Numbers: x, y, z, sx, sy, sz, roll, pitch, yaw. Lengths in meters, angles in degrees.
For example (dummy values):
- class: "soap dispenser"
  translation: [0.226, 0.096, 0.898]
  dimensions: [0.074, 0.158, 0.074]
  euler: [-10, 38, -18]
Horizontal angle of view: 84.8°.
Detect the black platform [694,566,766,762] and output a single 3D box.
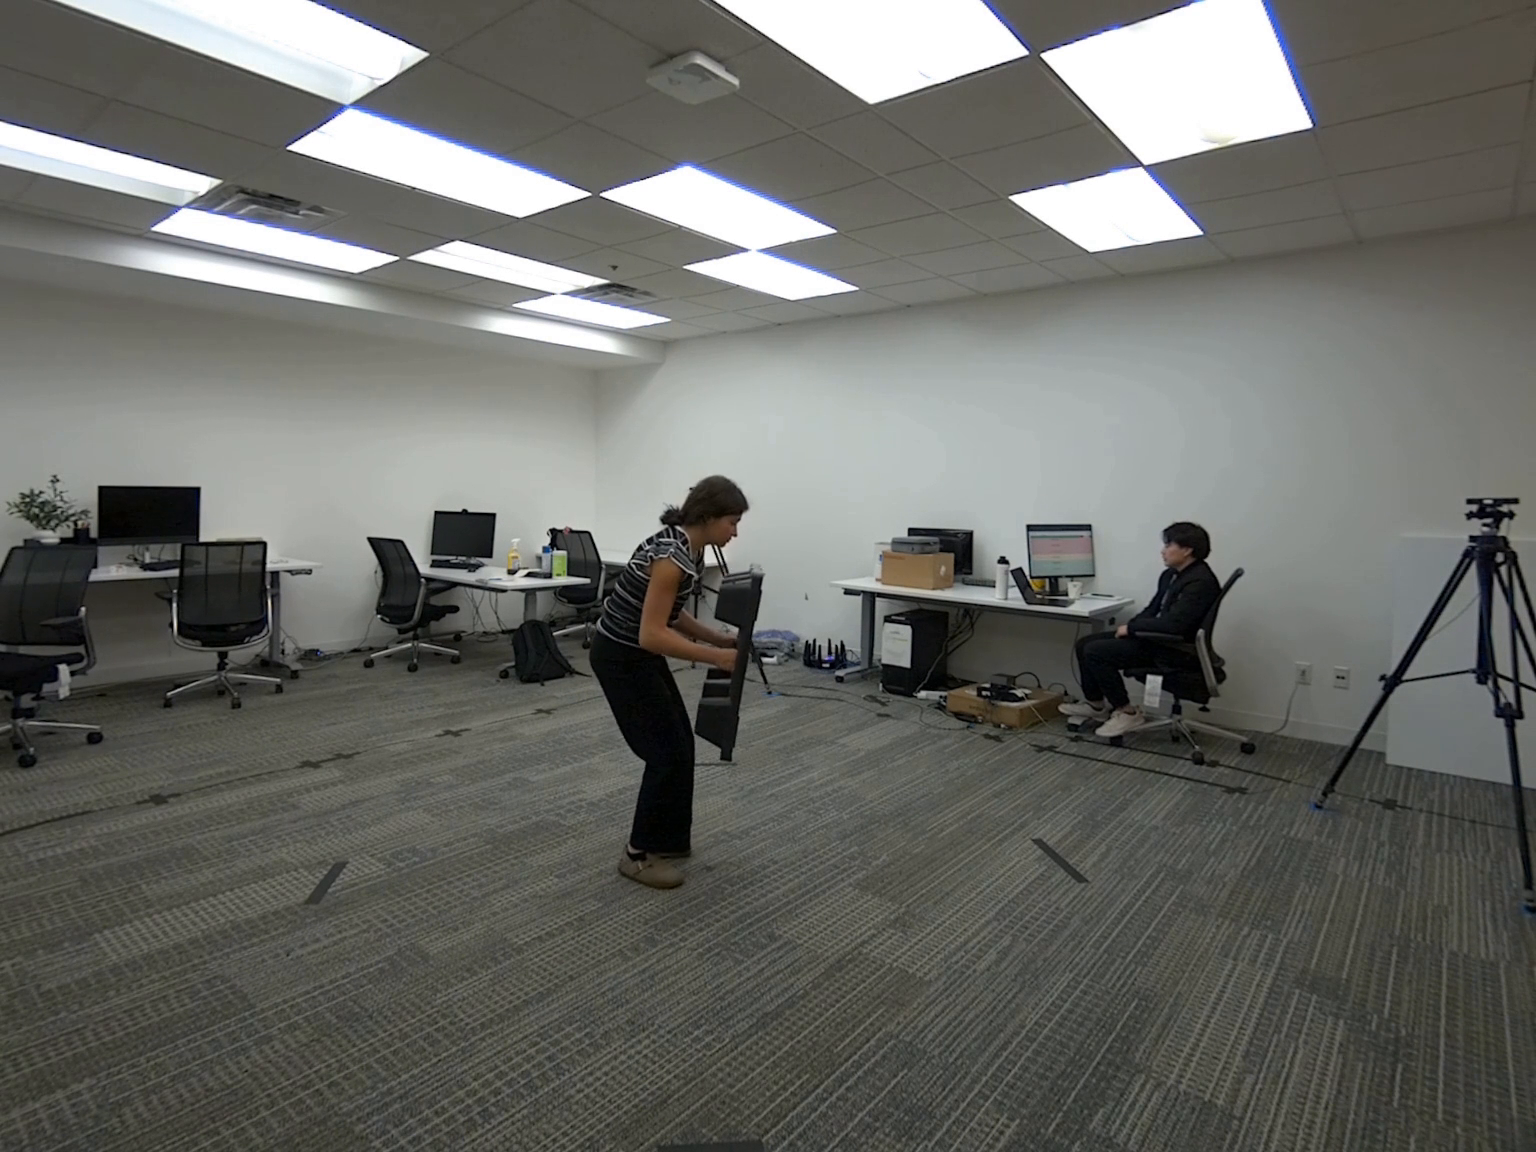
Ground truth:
- class: "black platform"
  translation: [-0.142, 0.258, 3.038]
  dimensions: [0.143, 0.605, 0.807]
  euler: [9, 2, -3]
